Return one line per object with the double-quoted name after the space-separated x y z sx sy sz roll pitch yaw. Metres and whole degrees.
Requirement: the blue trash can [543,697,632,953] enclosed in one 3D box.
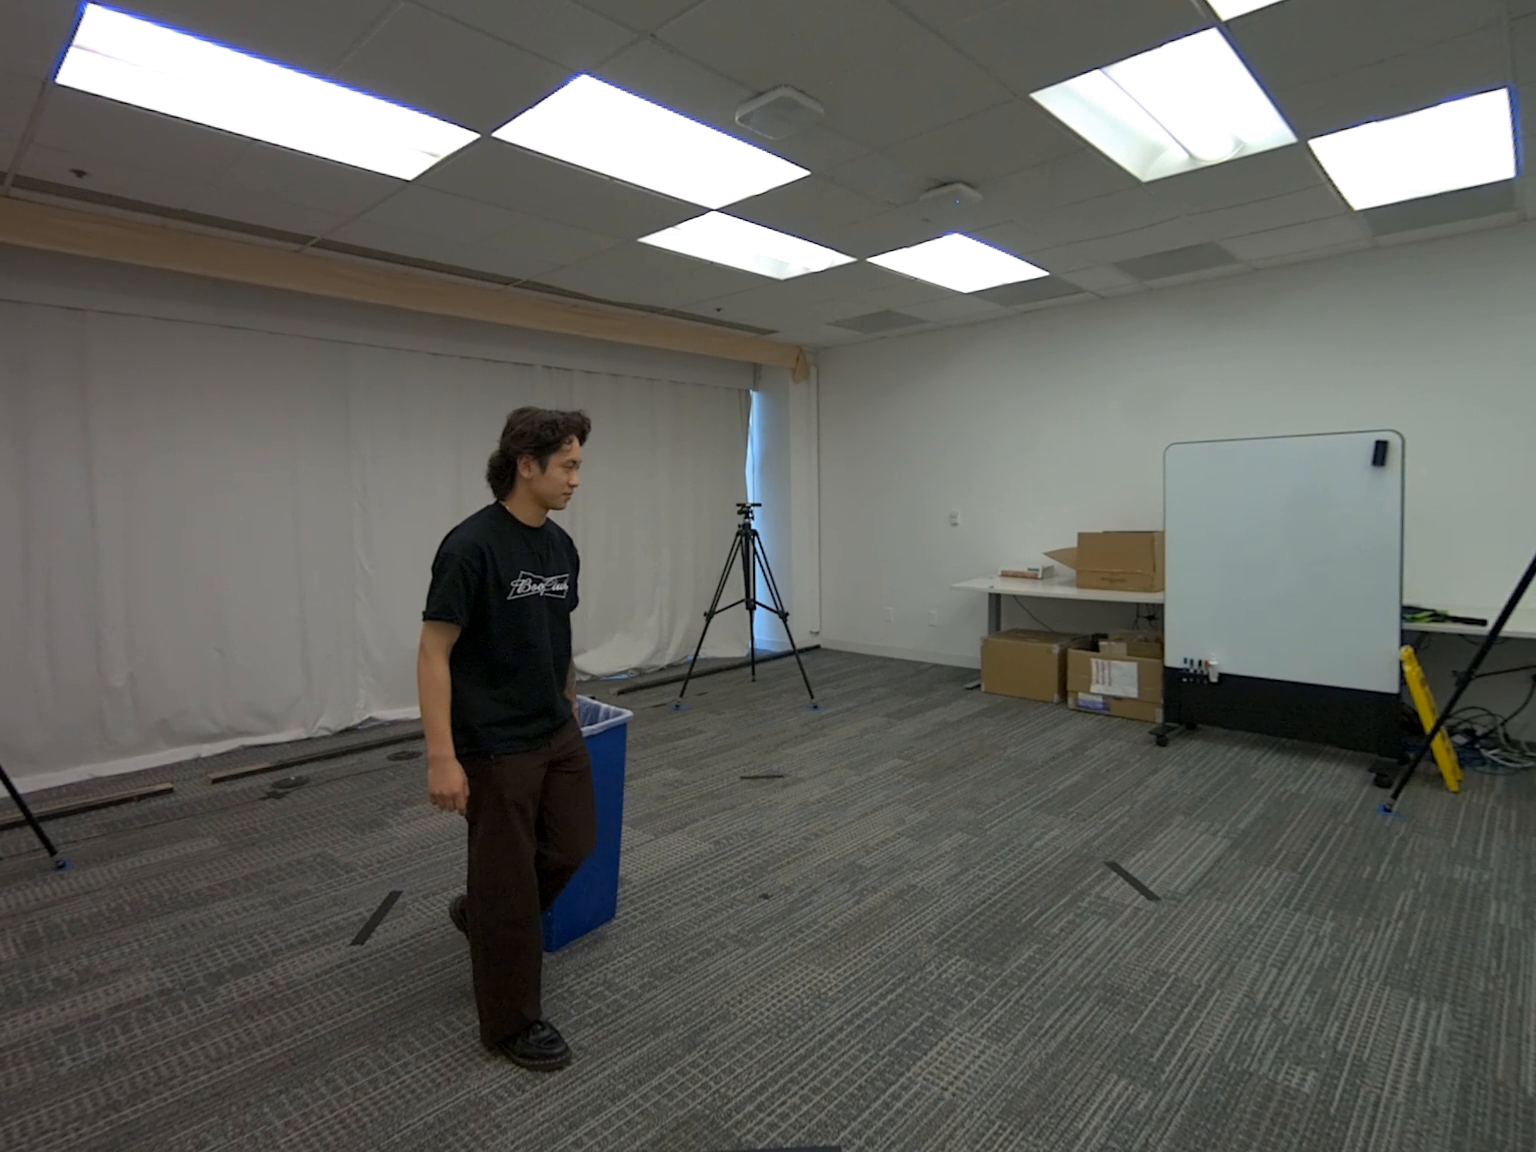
-0.709 0.800 2.788 0.390 0.711 0.363 7 8 34 "blue trash can"
